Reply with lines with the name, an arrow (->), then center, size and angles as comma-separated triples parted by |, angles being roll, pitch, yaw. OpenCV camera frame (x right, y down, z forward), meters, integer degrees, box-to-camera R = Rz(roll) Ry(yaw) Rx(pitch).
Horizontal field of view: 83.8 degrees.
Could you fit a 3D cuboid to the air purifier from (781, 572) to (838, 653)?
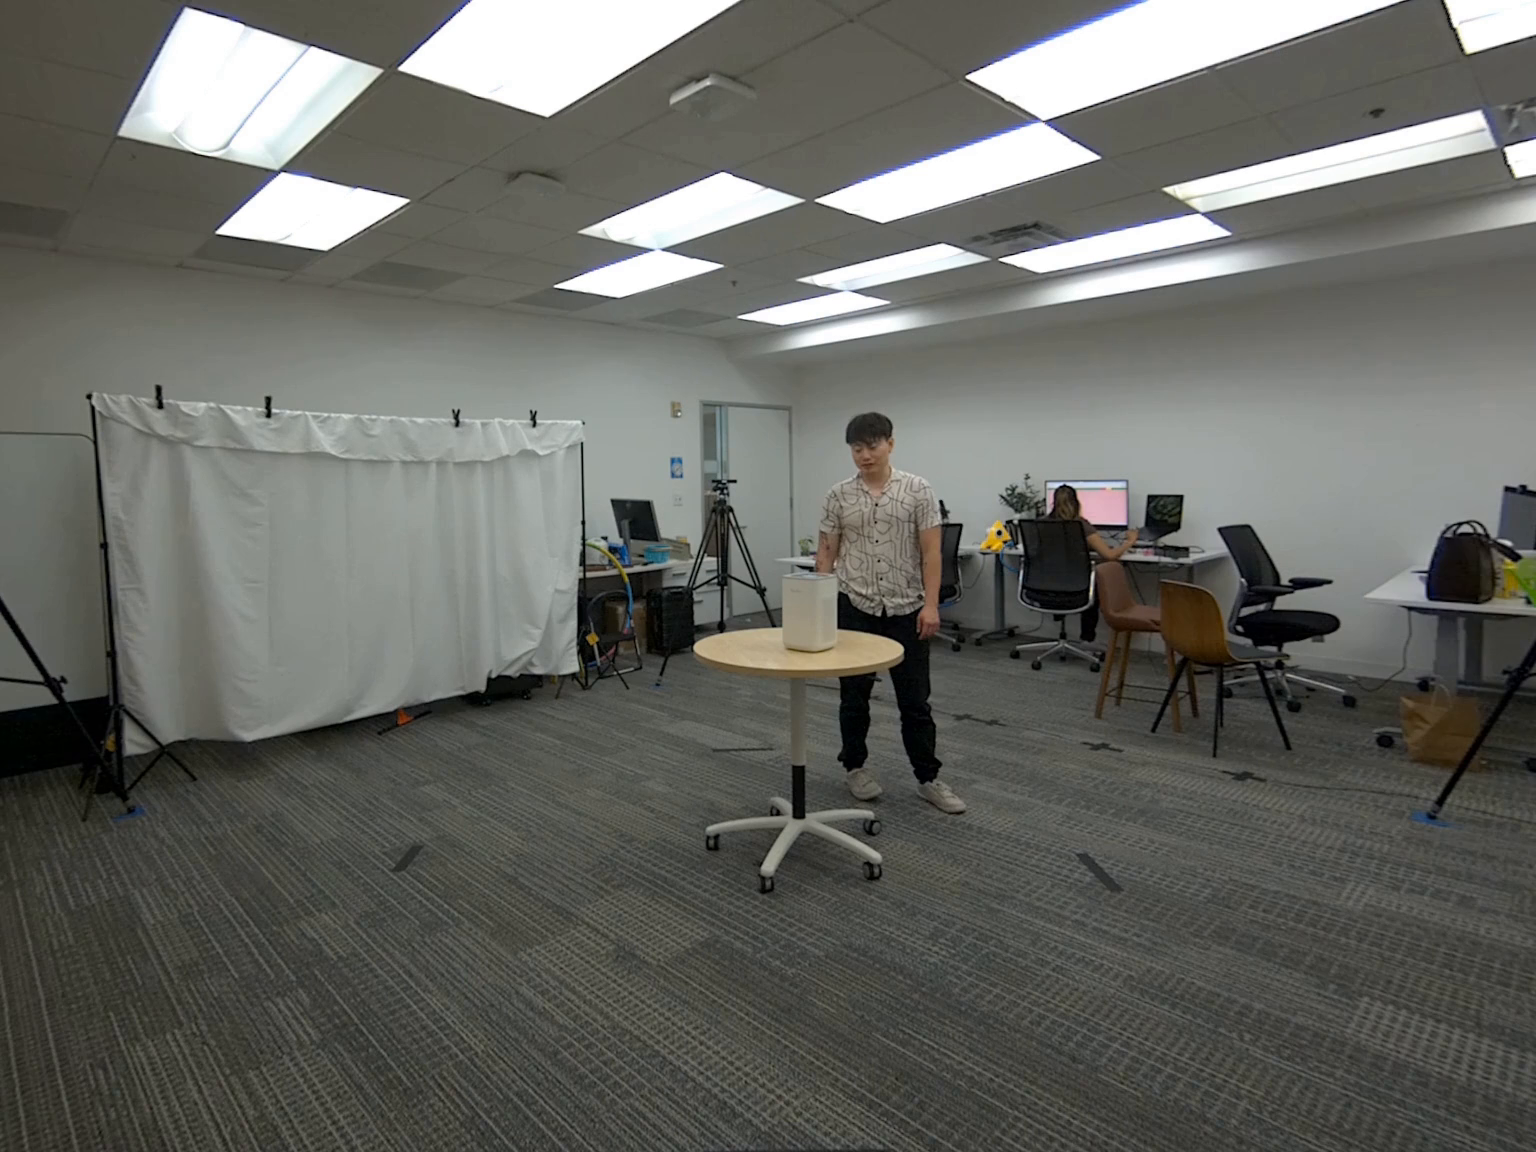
air purifier -> 0.152, 0.129, 3.092 | 0.176, 0.264, 0.167 | 2, 5, 36
